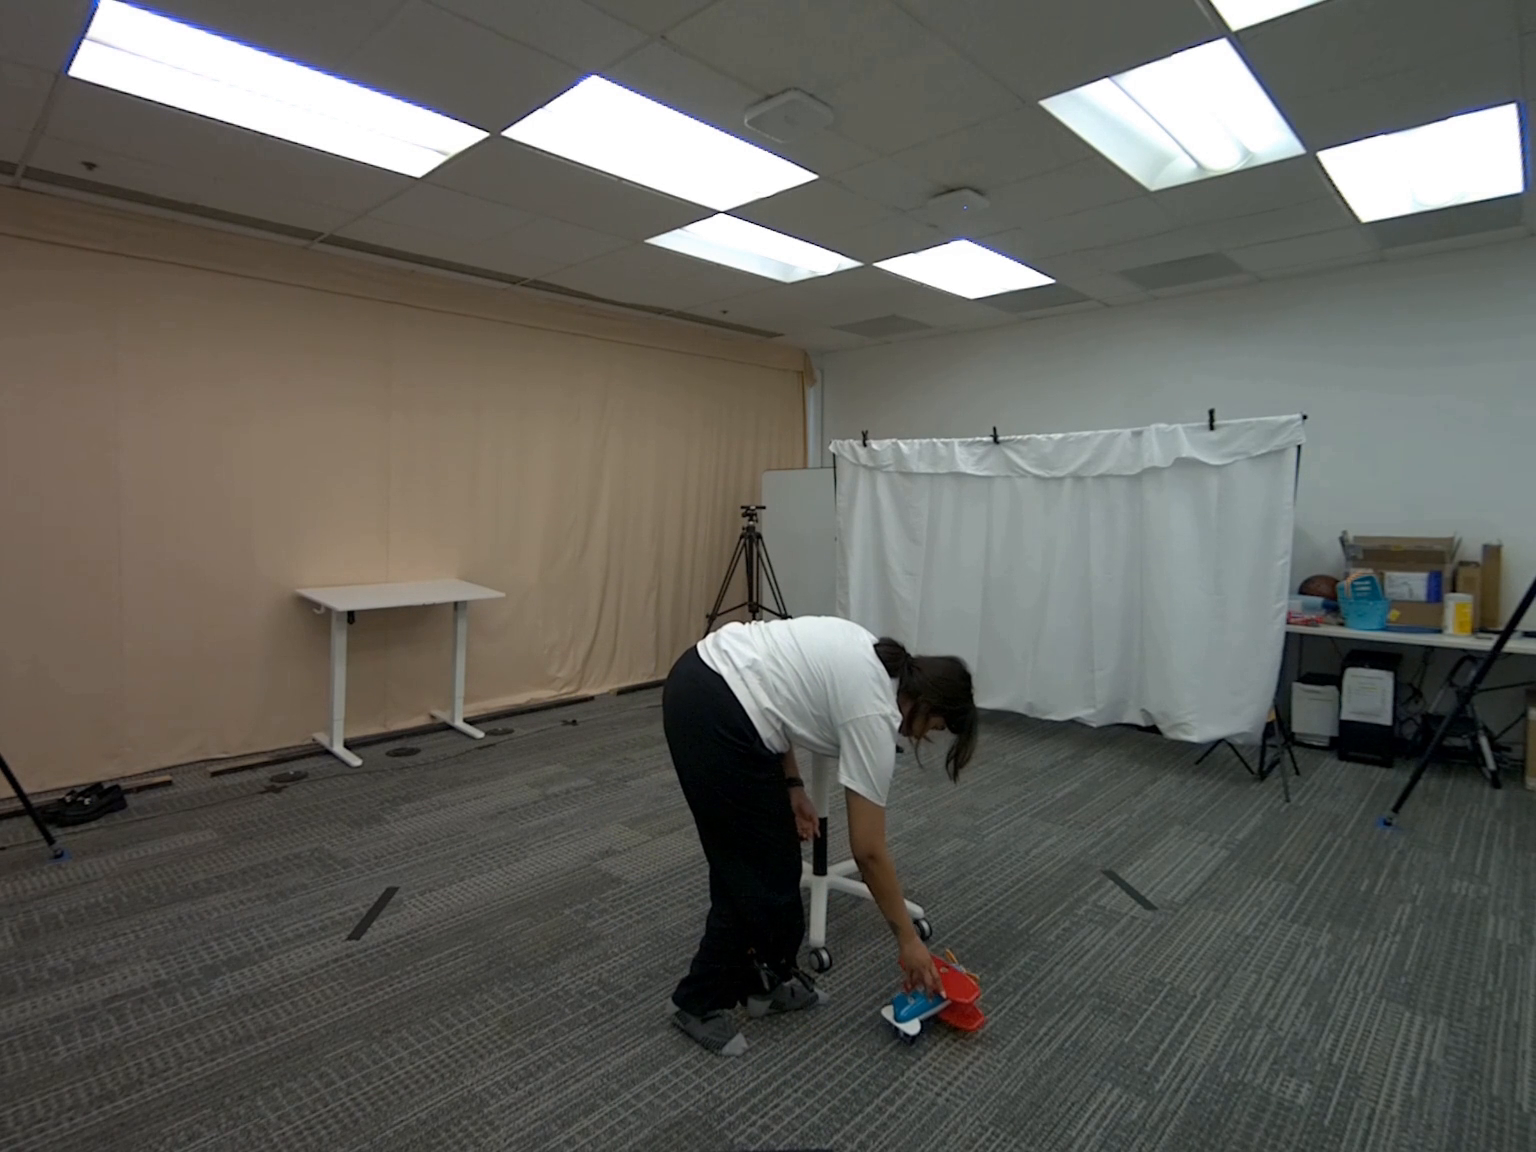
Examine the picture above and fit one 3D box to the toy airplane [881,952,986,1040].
[{"bbox_3d":[0.451,1.138,2.211,0.258,0.156,0.252,3,3,30],"label":"toy airplane"}]
